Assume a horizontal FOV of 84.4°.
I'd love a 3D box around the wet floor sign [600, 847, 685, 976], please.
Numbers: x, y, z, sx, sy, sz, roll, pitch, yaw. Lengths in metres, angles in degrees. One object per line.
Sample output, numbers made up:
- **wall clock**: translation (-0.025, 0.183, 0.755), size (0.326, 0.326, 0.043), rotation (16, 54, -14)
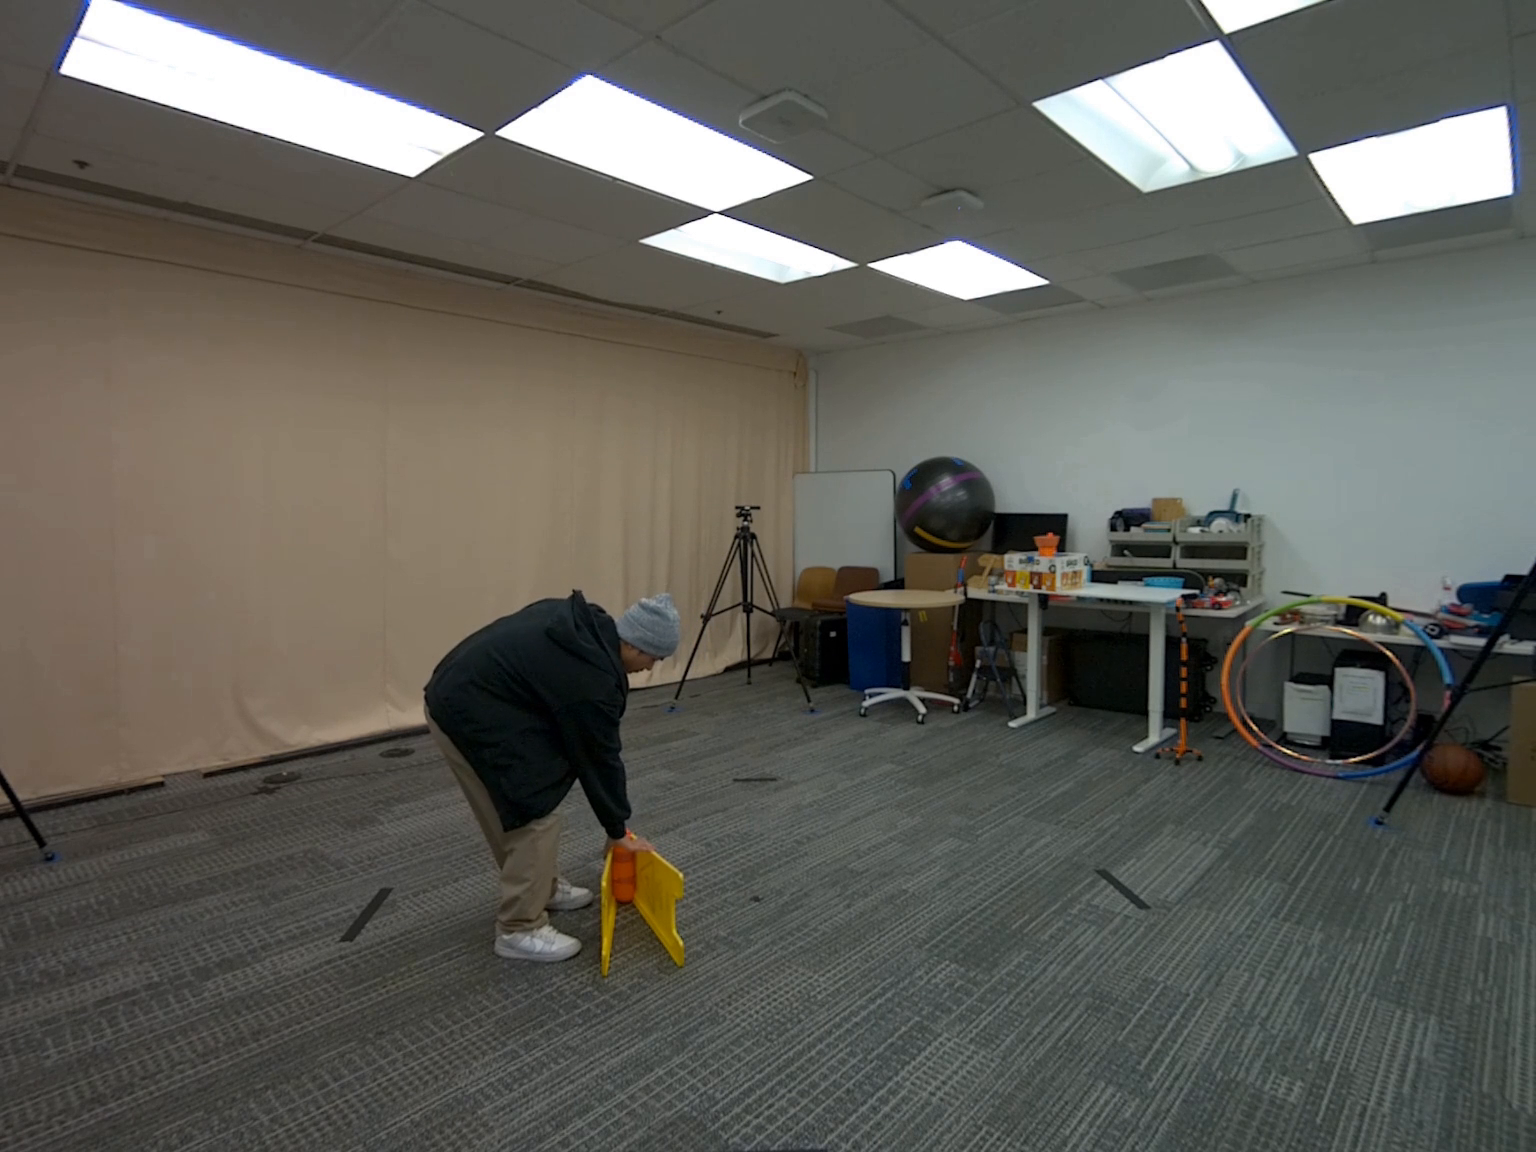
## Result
- **wet floor sign**: translation (-0.472, 1.037, 2.822), size (0.285, 0.282, 0.656), rotation (-1, 1, -16)
